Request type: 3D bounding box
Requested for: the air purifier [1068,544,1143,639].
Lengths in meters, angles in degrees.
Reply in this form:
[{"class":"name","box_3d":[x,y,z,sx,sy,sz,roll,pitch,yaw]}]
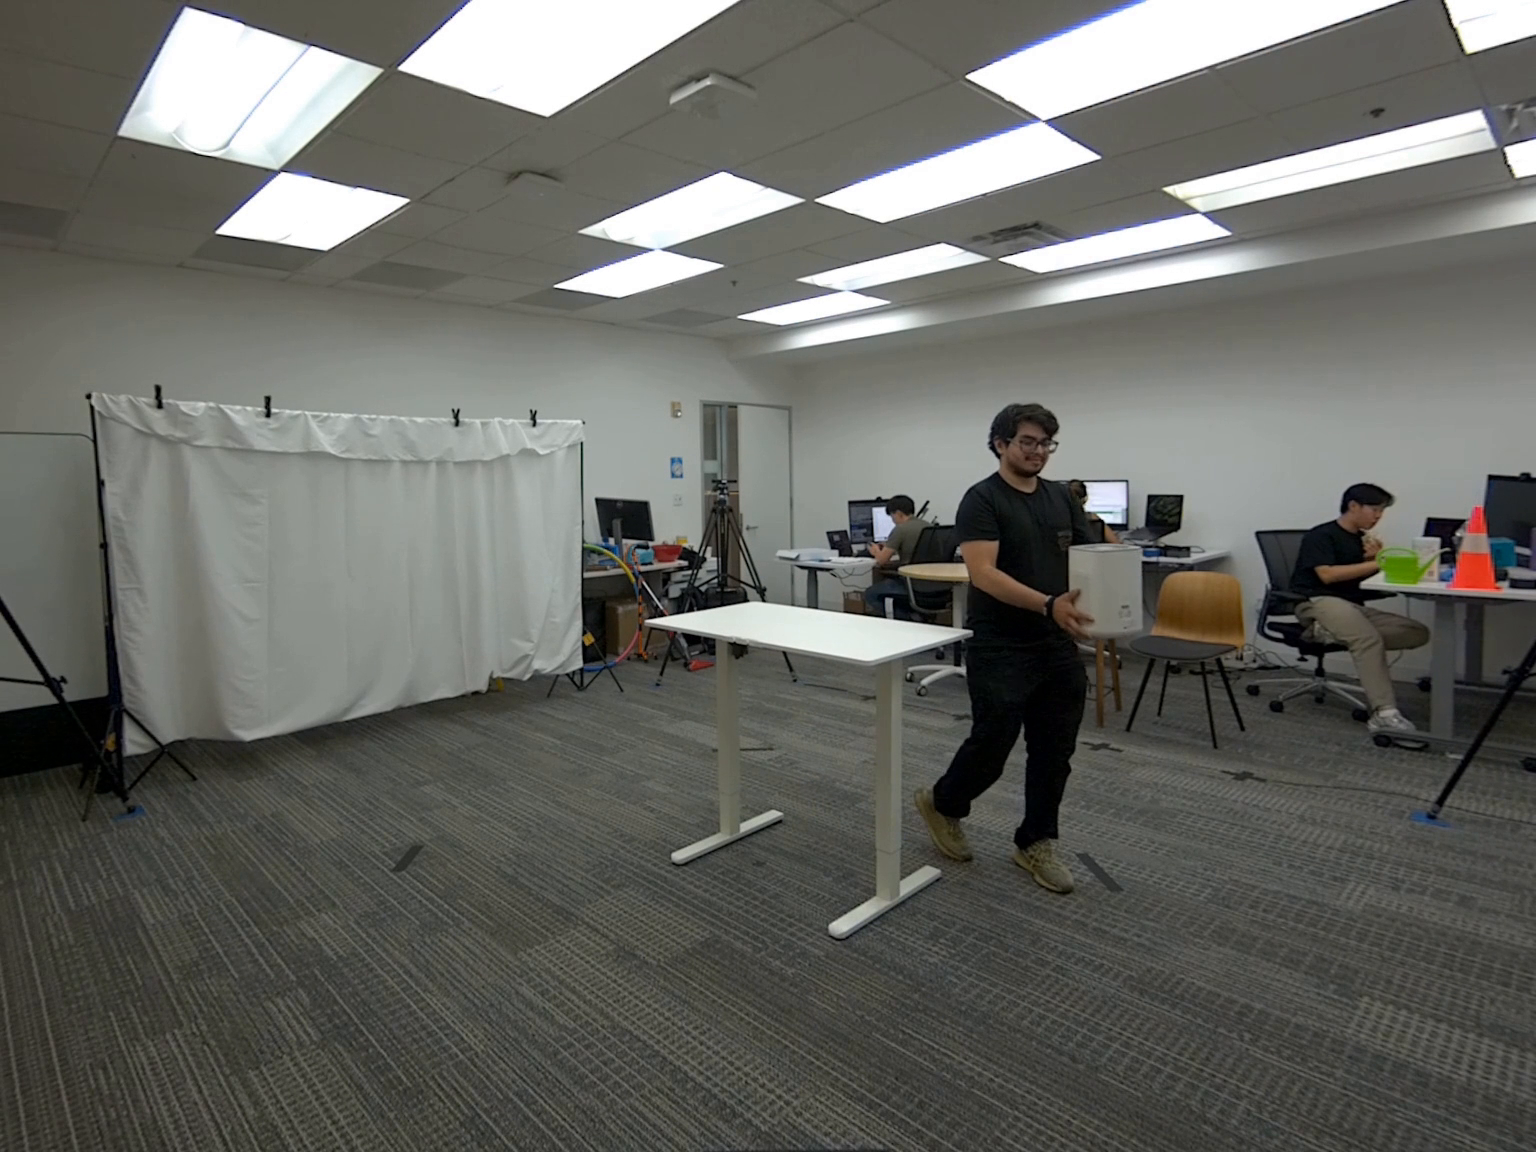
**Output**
[{"class":"air purifier","box_3d":[1.017,0.046,2.569,0.168,0.264,0.175,-3,5,-17]}]
